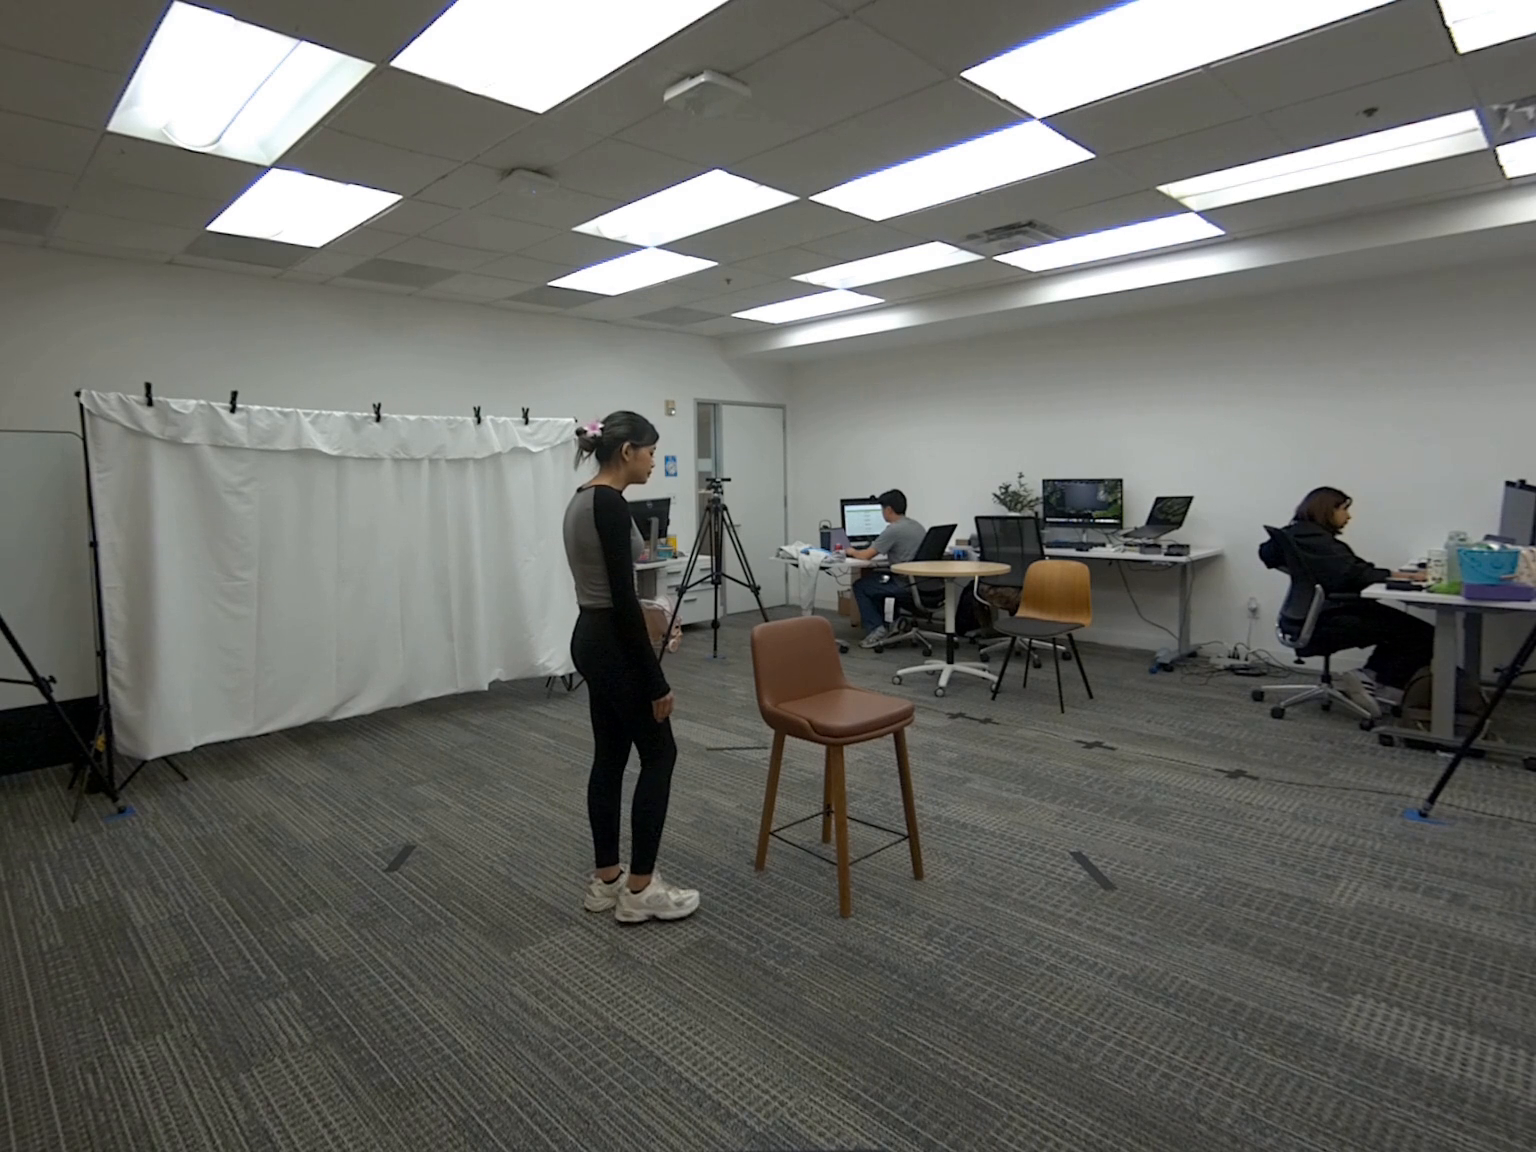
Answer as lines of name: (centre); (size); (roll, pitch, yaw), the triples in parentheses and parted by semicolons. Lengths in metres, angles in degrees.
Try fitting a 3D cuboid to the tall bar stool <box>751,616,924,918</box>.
tall bar stool: (0.237, 0.615, 2.984); (0.444, 0.887, 0.481); (-5, 4, -43)
